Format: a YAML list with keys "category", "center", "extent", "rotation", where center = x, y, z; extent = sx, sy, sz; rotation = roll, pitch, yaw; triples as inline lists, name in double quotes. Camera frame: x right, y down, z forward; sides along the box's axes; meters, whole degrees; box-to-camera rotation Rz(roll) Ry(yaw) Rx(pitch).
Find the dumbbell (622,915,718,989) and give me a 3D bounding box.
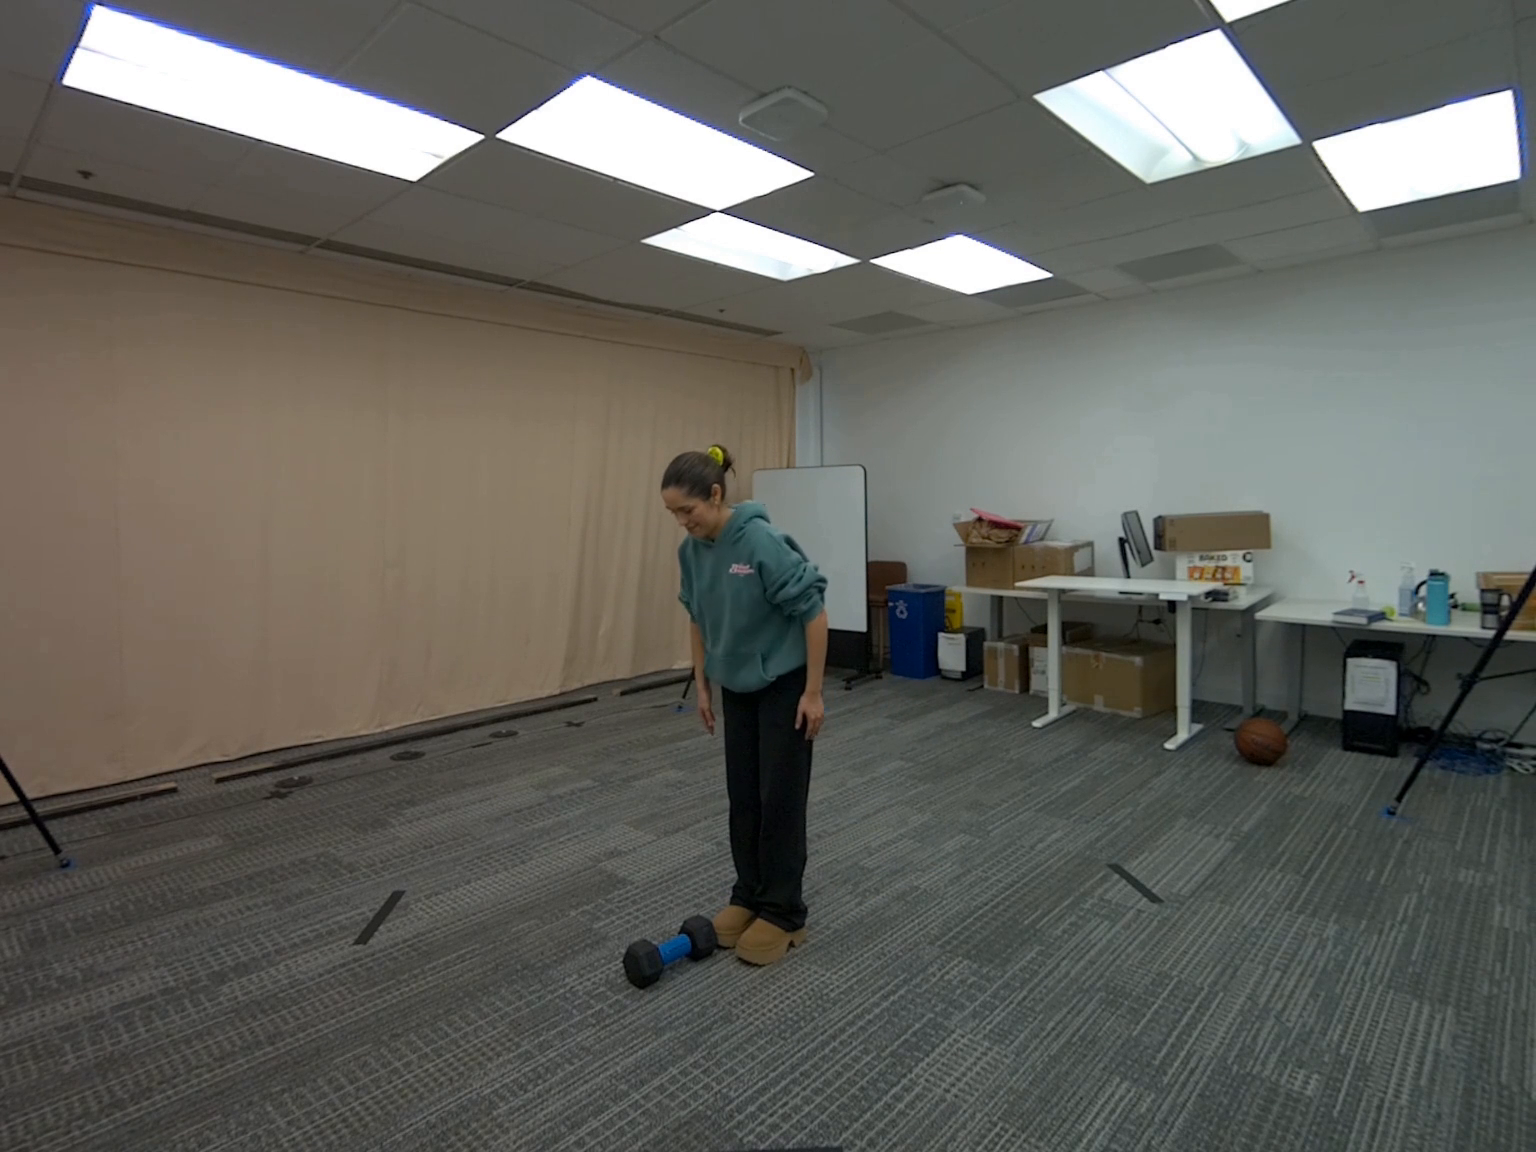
- category: "dumbbell"
  center: [-0.292, 1.133, 2.533]
  extent: [0.285, 0.122, 0.112]
  rotation: [-5, 36, -43]
